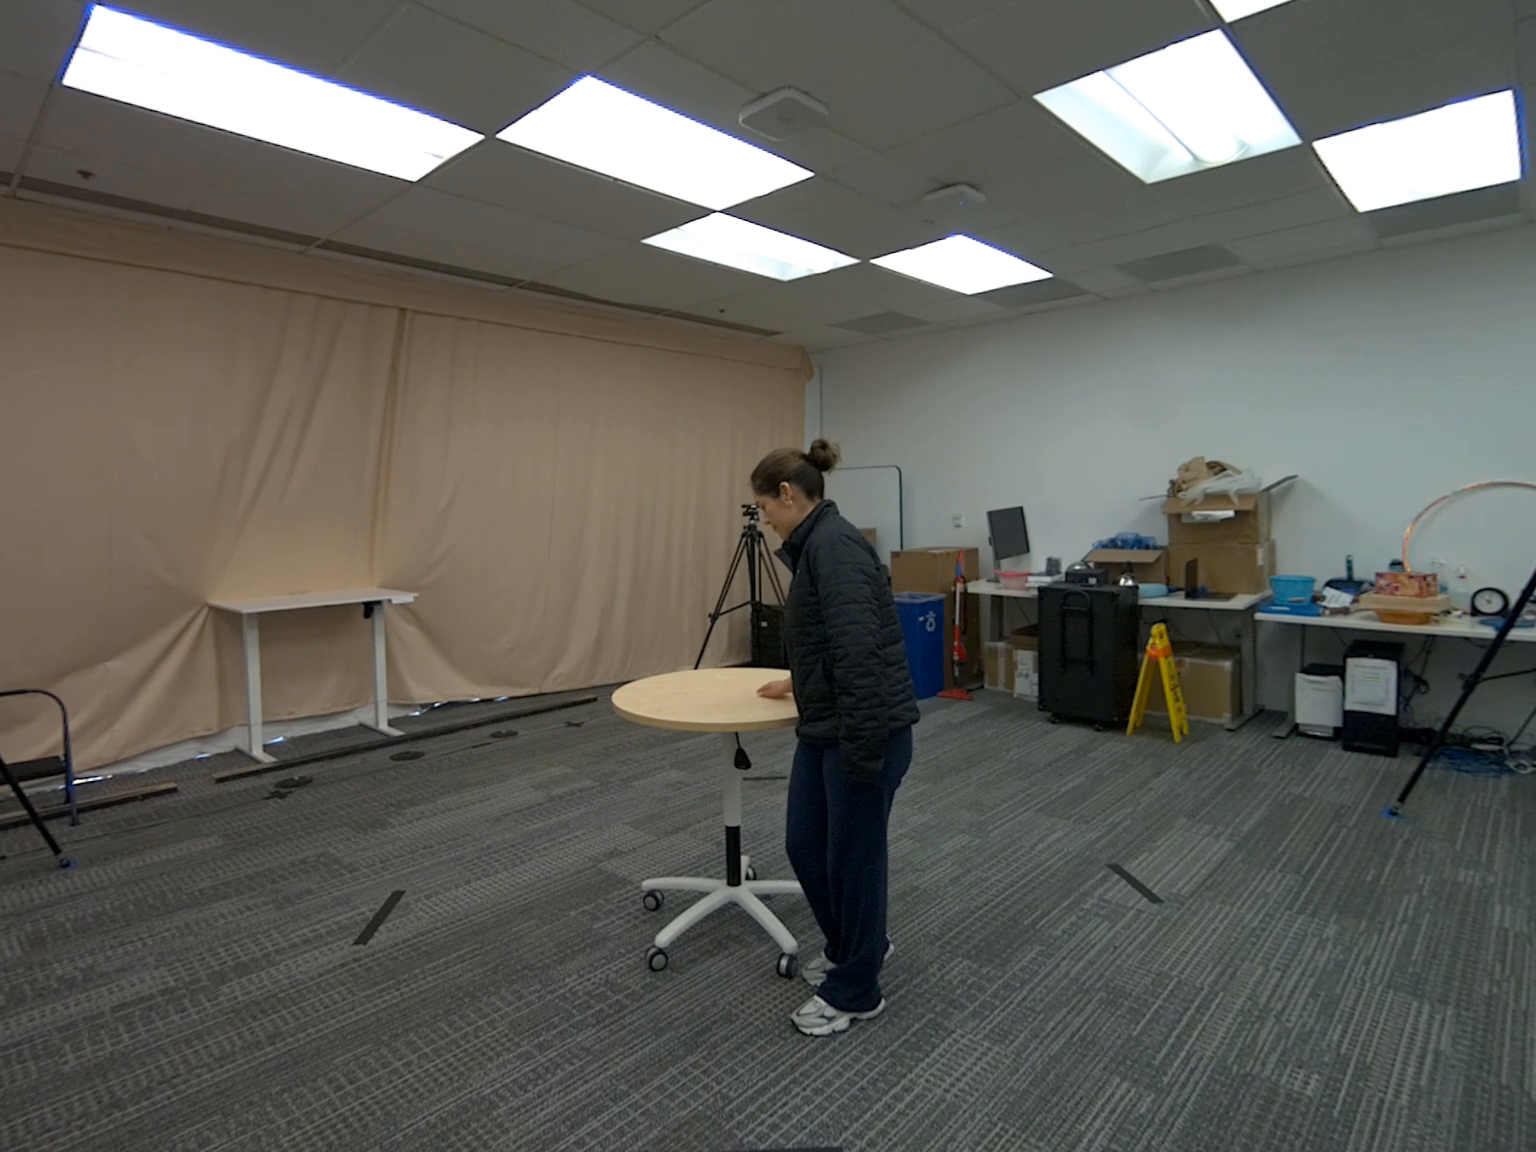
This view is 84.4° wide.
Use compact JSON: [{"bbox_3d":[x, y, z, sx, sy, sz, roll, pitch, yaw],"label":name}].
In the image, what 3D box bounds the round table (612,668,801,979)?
[{"bbox_3d":[-0.112,0.765,2.784,0.784,0.785,0.788,-1,4,-2],"label":"round table"}]
